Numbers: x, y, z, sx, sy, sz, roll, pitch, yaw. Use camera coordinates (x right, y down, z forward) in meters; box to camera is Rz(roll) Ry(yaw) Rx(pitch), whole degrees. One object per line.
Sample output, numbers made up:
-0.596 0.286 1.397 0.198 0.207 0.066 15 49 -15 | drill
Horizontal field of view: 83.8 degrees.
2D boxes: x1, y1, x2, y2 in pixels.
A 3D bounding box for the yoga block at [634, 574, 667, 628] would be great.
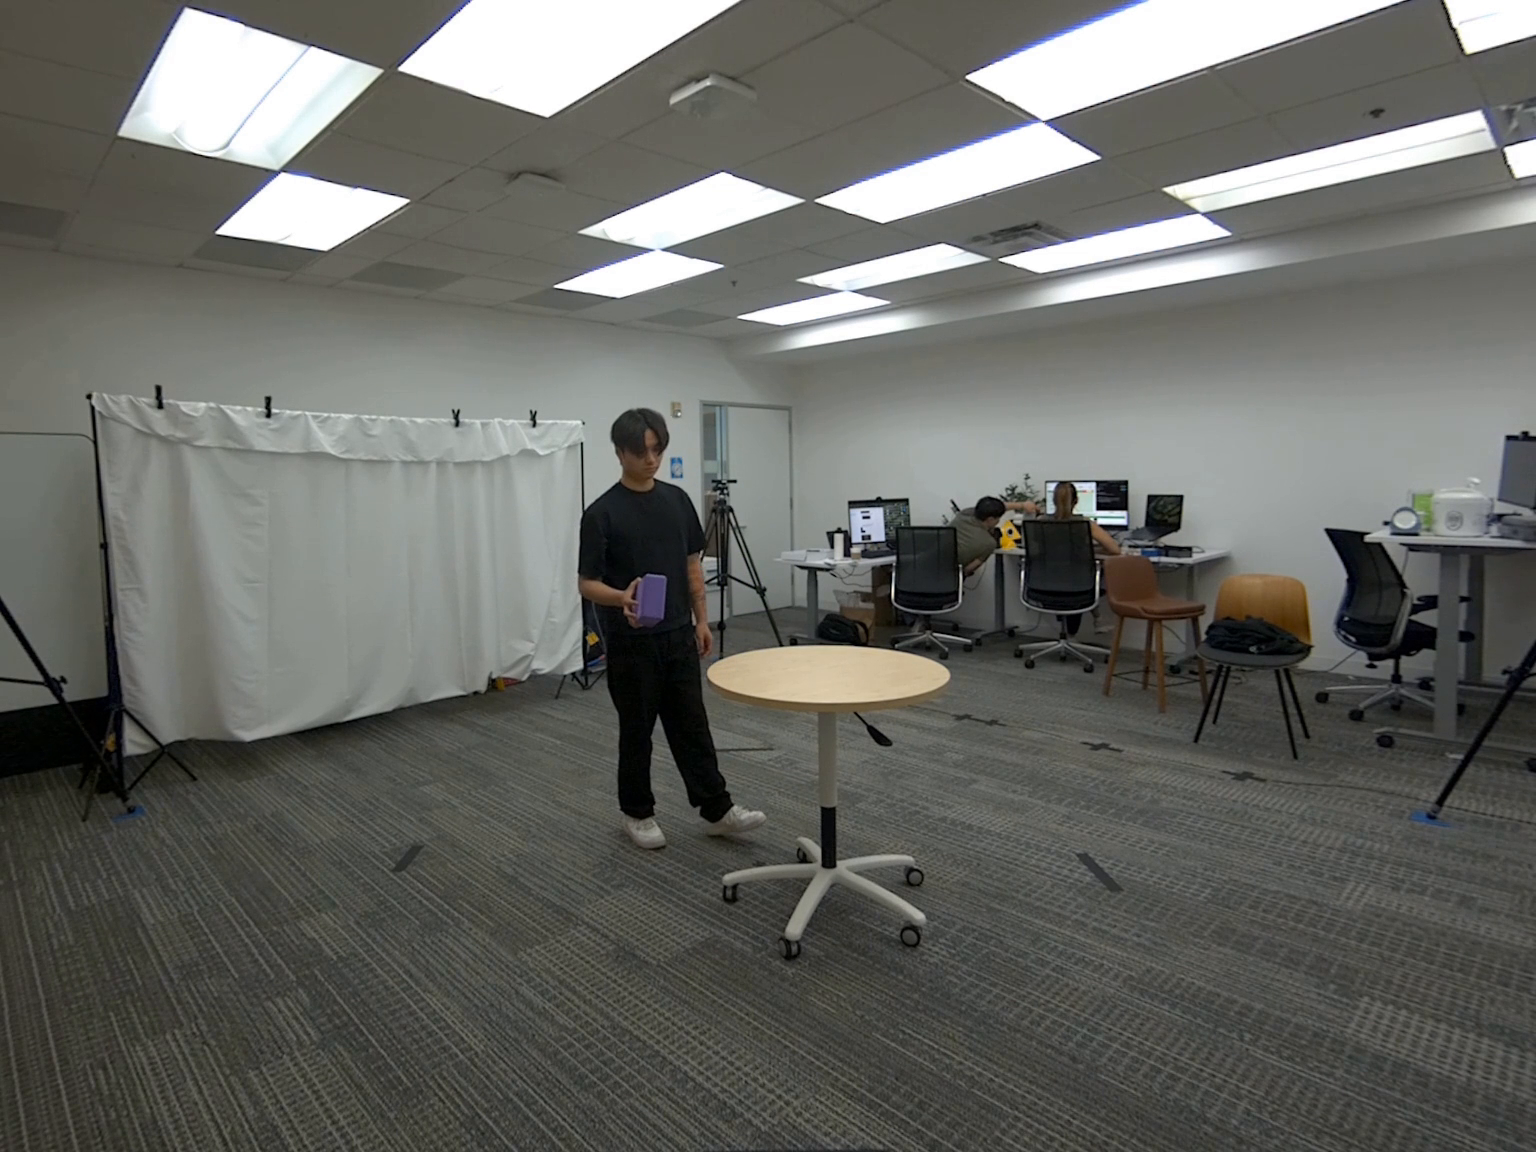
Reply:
-0.390 0.082 2.888 0.076 0.150 0.228 5 -7 -2 | yoga block
